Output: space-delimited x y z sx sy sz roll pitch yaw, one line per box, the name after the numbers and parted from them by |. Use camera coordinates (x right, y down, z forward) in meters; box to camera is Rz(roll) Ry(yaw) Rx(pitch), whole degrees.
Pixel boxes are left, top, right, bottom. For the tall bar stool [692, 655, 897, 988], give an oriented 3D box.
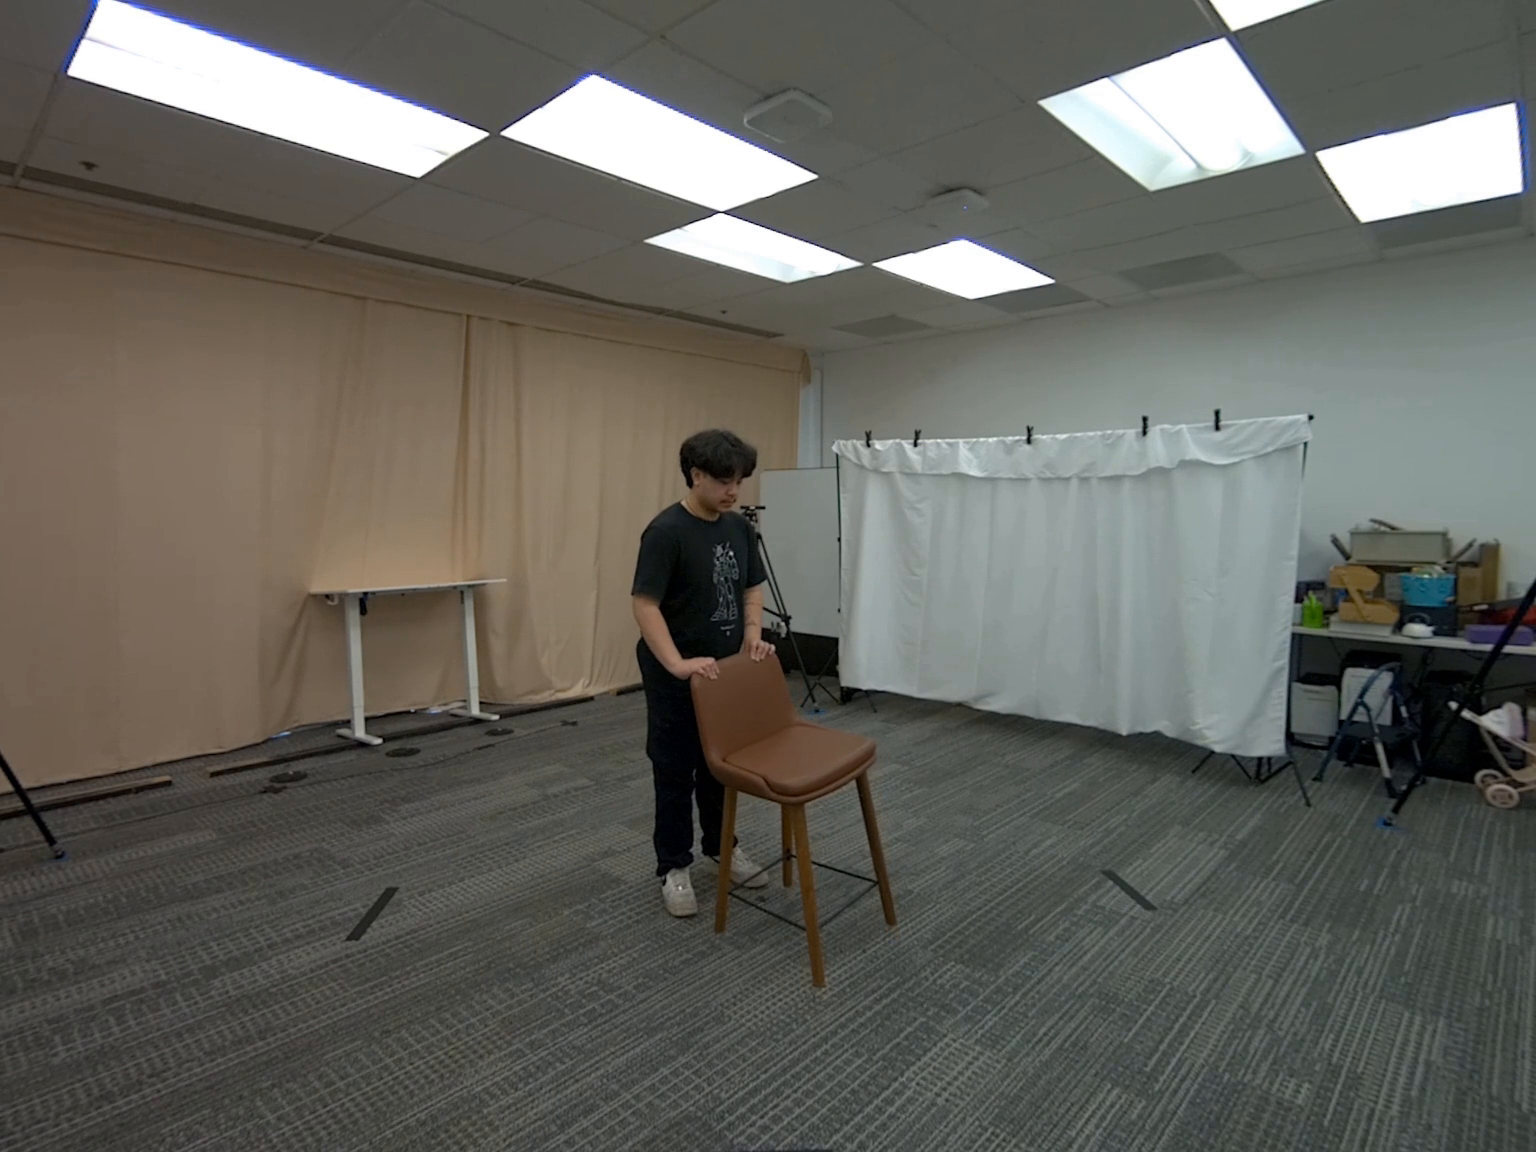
0.079 0.715 2.681 0.483 0.886 0.444 -1 8 44 | tall bar stool
